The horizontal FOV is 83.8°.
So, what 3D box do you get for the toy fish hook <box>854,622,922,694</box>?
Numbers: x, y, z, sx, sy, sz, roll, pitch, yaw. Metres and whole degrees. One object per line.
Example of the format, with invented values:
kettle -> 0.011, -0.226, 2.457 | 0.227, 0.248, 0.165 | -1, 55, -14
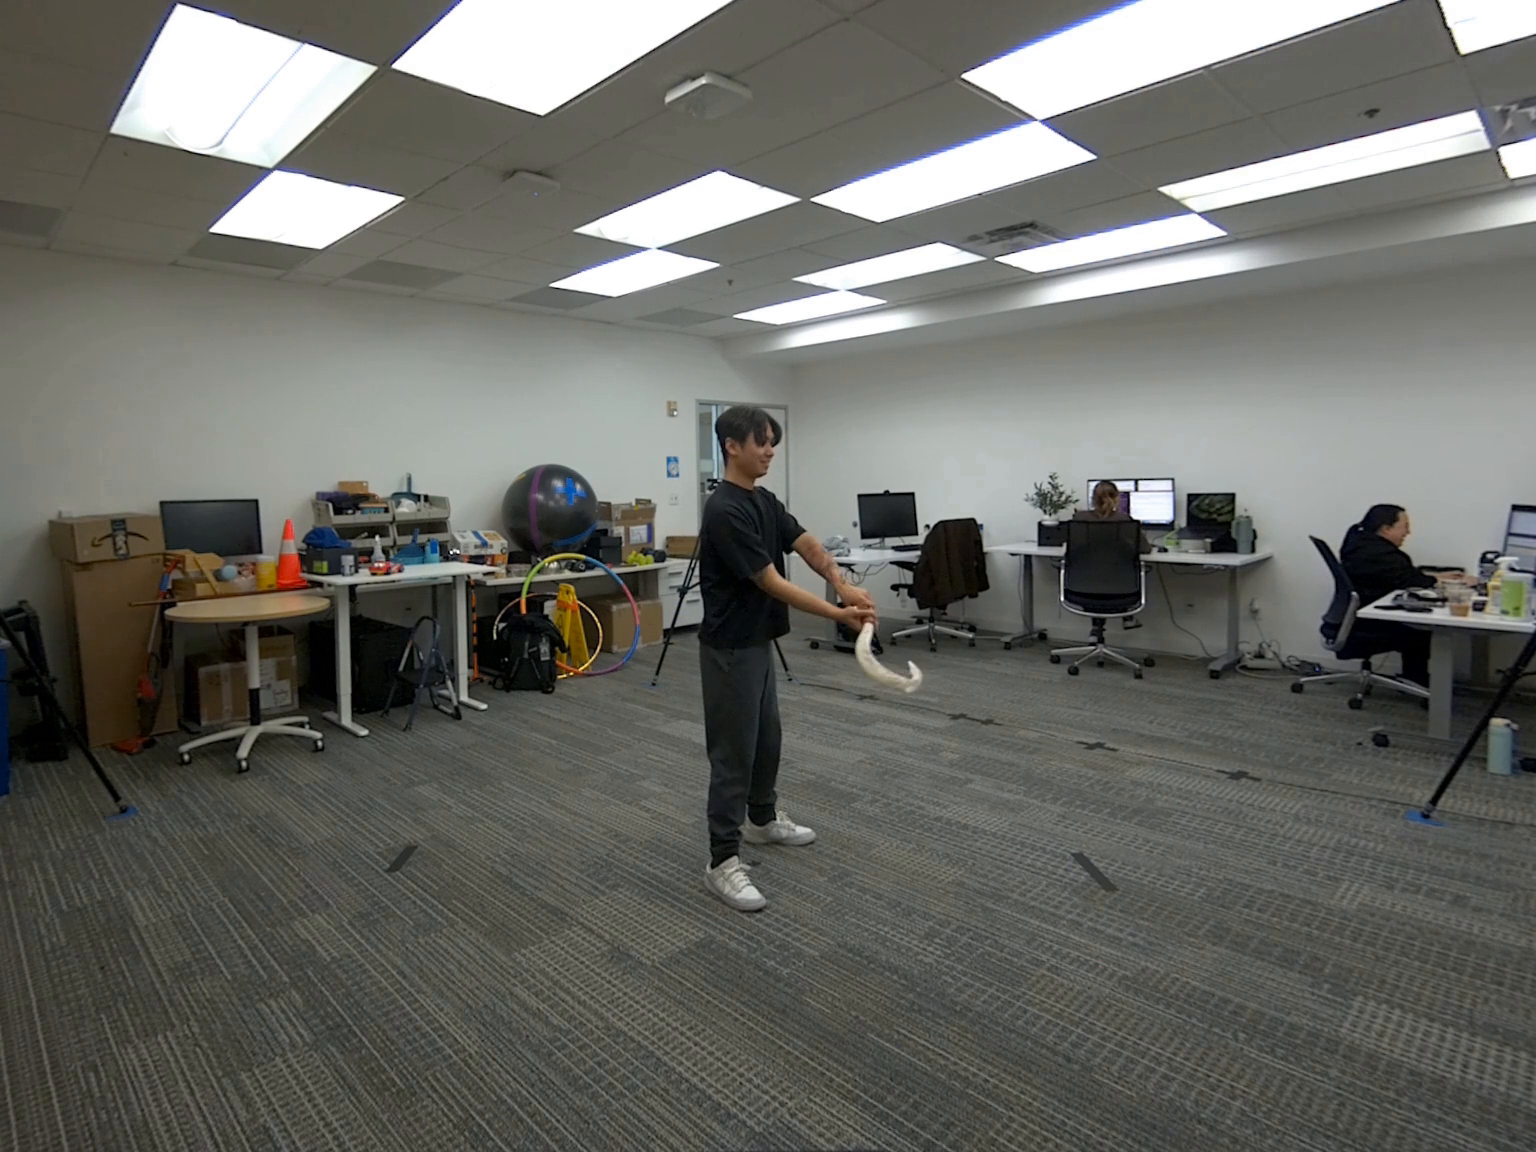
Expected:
toy fish hook -> 0.350, 0.209, 2.704 | 0.222, 0.048, 0.516 | 27, 24, -11
